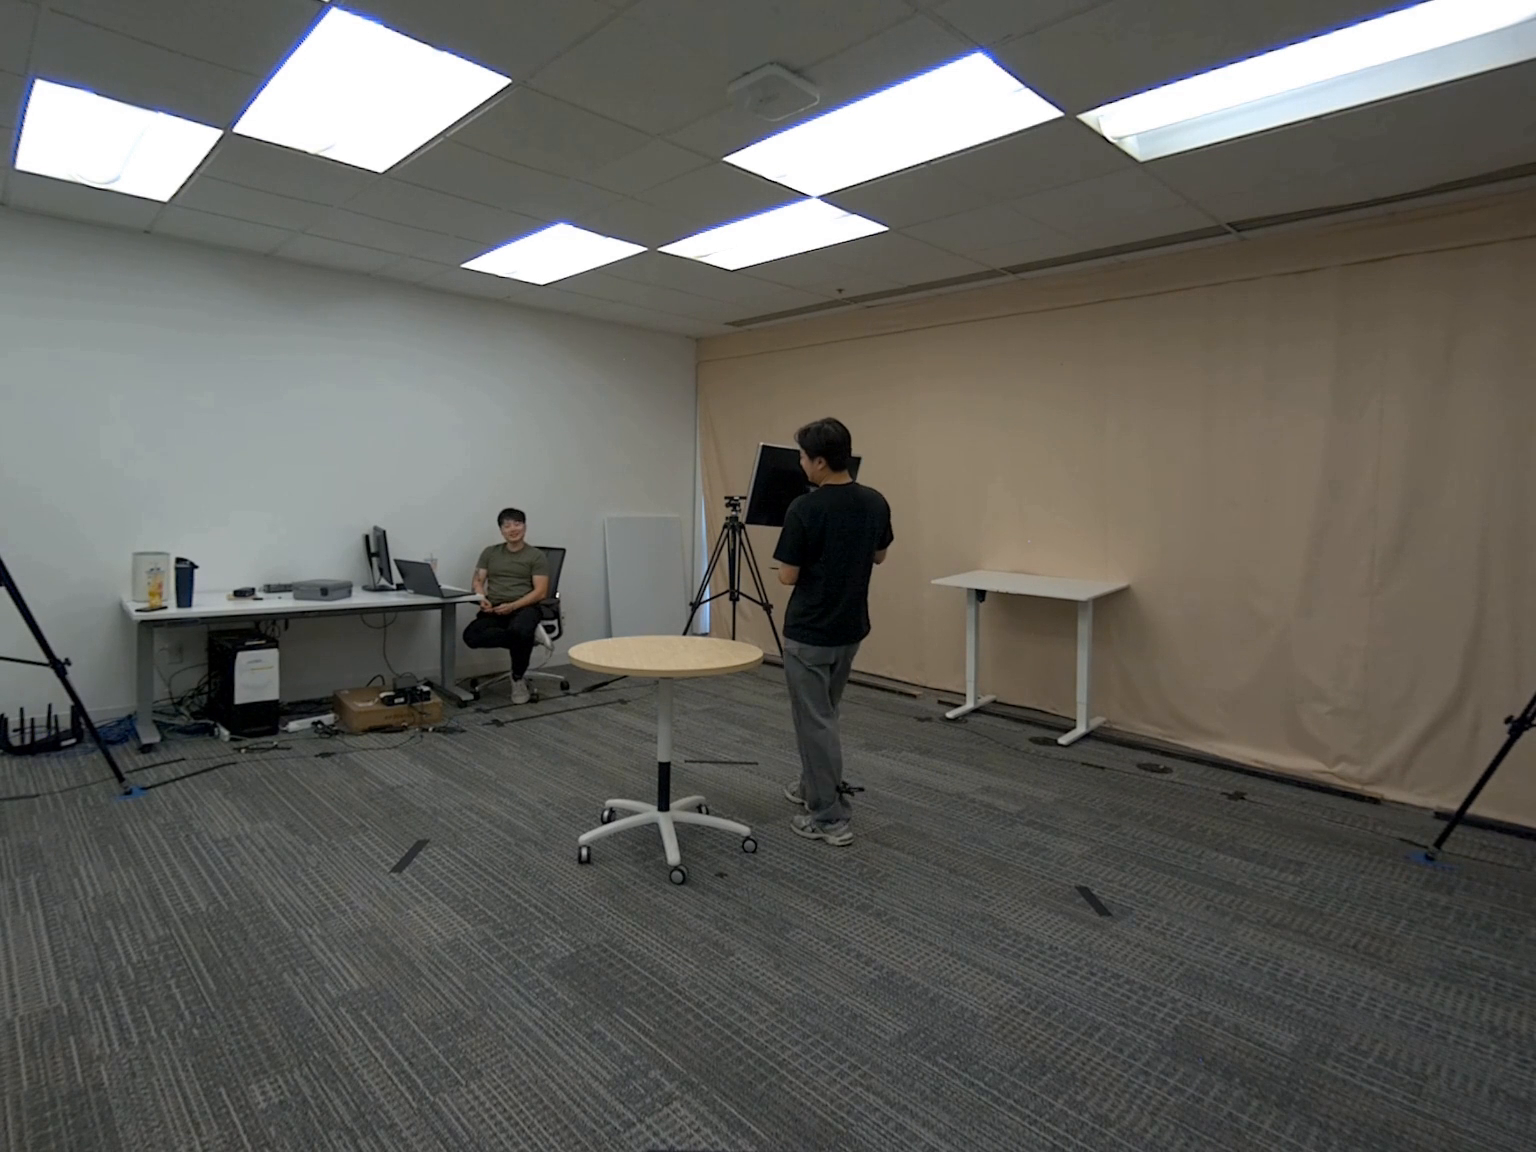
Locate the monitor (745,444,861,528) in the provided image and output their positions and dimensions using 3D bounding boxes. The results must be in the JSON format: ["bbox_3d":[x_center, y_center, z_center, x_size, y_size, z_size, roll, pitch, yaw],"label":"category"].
[{"bbox_3d":[0.165,-0.285,3.759,0.550,0.565,0.227,3,2,-30],"label":"monitor"}]
